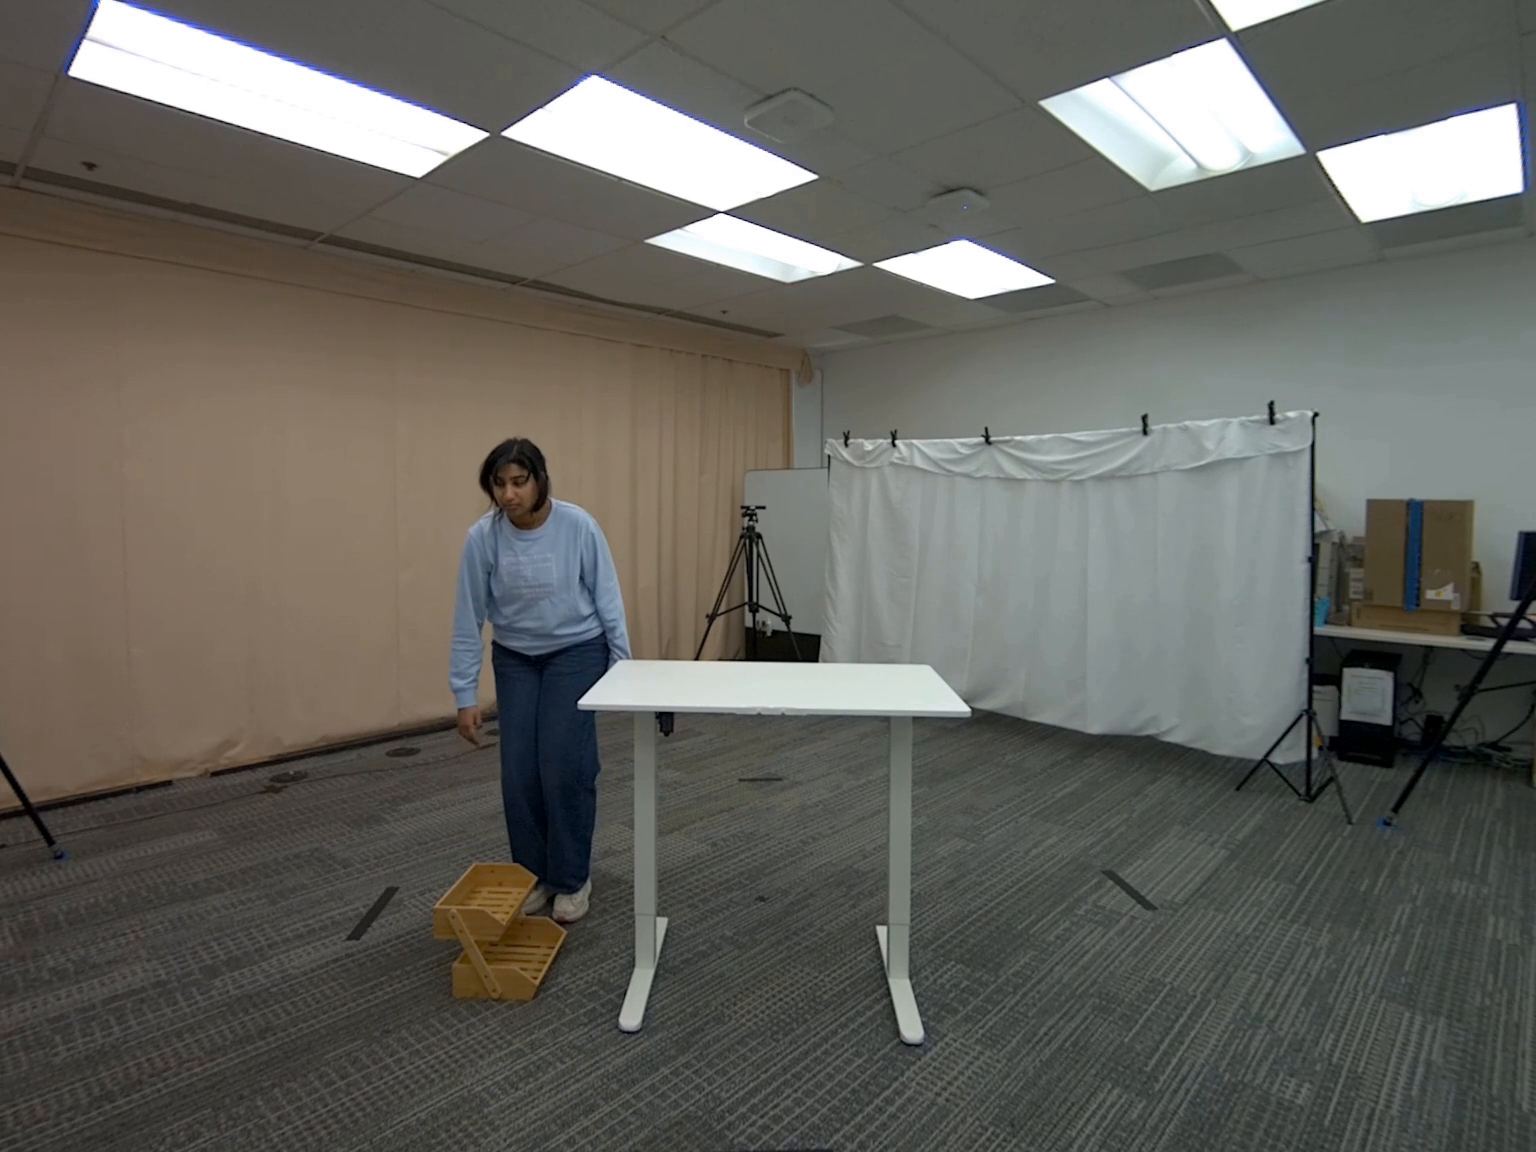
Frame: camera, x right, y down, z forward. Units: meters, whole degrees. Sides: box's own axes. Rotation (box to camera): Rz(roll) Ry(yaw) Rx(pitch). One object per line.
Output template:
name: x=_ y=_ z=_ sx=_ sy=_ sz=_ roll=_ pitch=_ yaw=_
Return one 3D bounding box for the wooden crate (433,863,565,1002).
wooden crate: x=-0.776 y=1.043 z=2.532 sx=0.304 sy=0.273 sz=0.323 roll=-2 pitch=4 yaw=4
